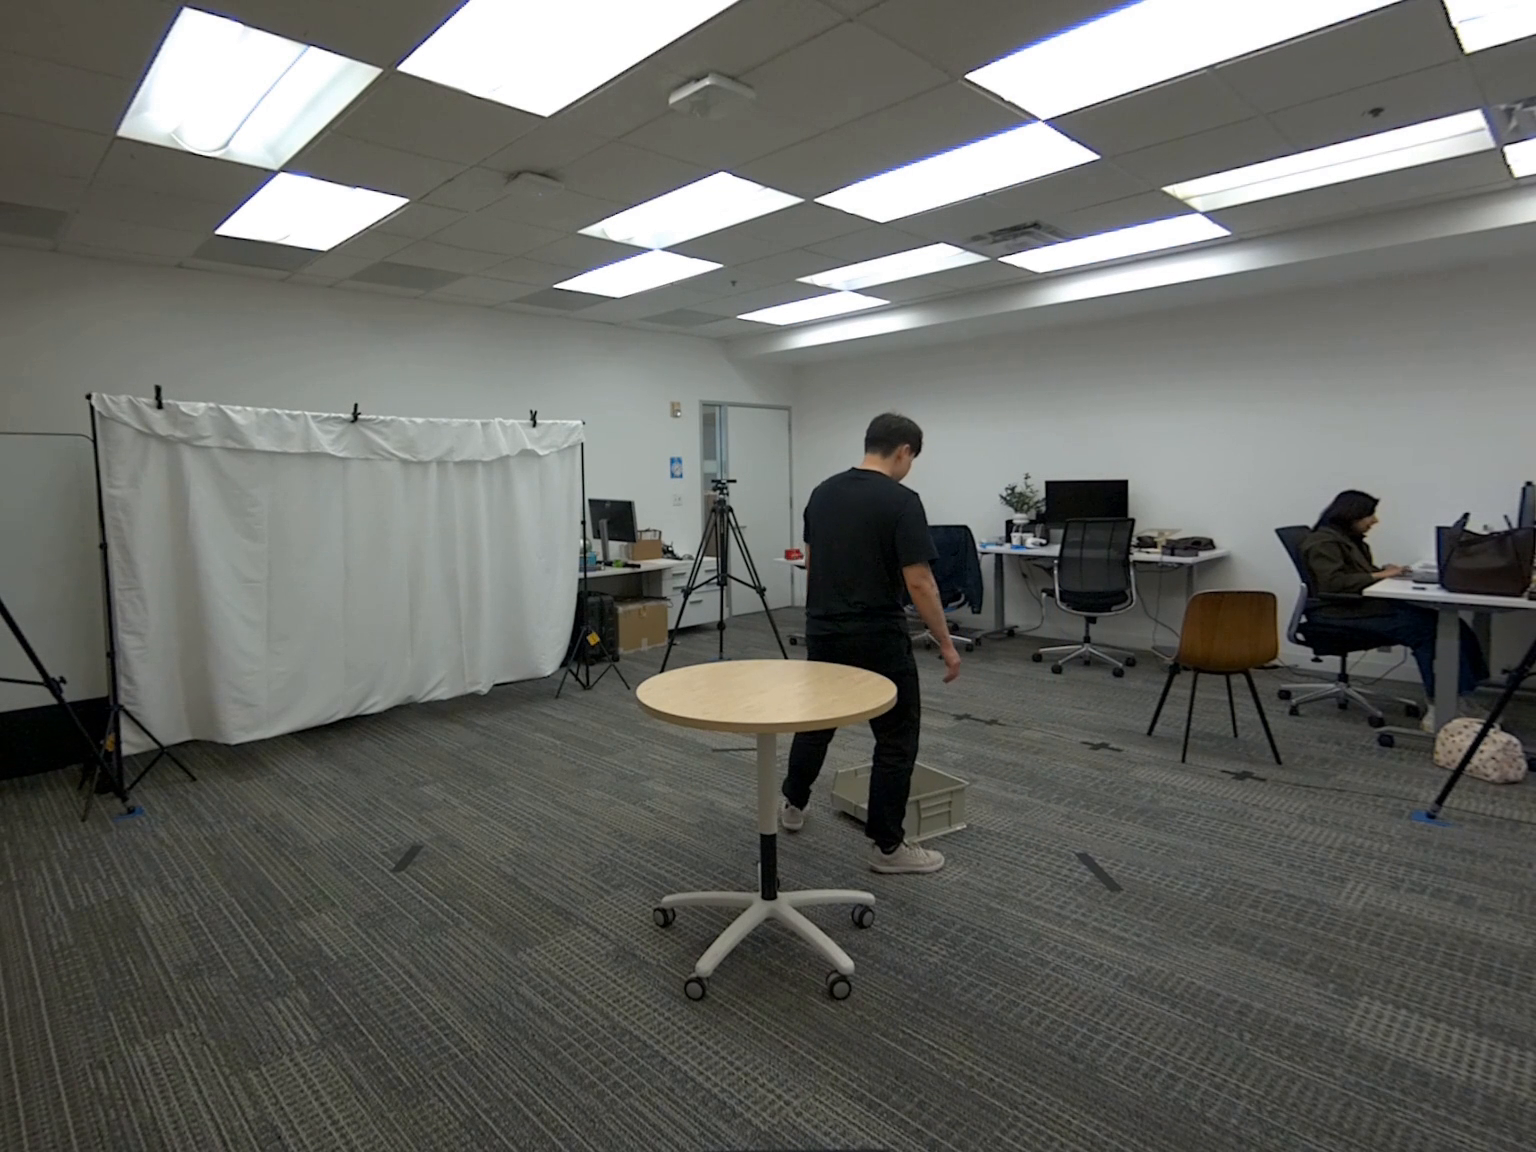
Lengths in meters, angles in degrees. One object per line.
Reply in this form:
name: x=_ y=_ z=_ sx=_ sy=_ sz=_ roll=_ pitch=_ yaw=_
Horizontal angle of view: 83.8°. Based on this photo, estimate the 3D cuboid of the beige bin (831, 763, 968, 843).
beige bin: x=0.528 y=0.904 z=3.480 sx=0.368 sy=0.188 sz=0.434 roll=-4 pitch=6 yaw=-31
